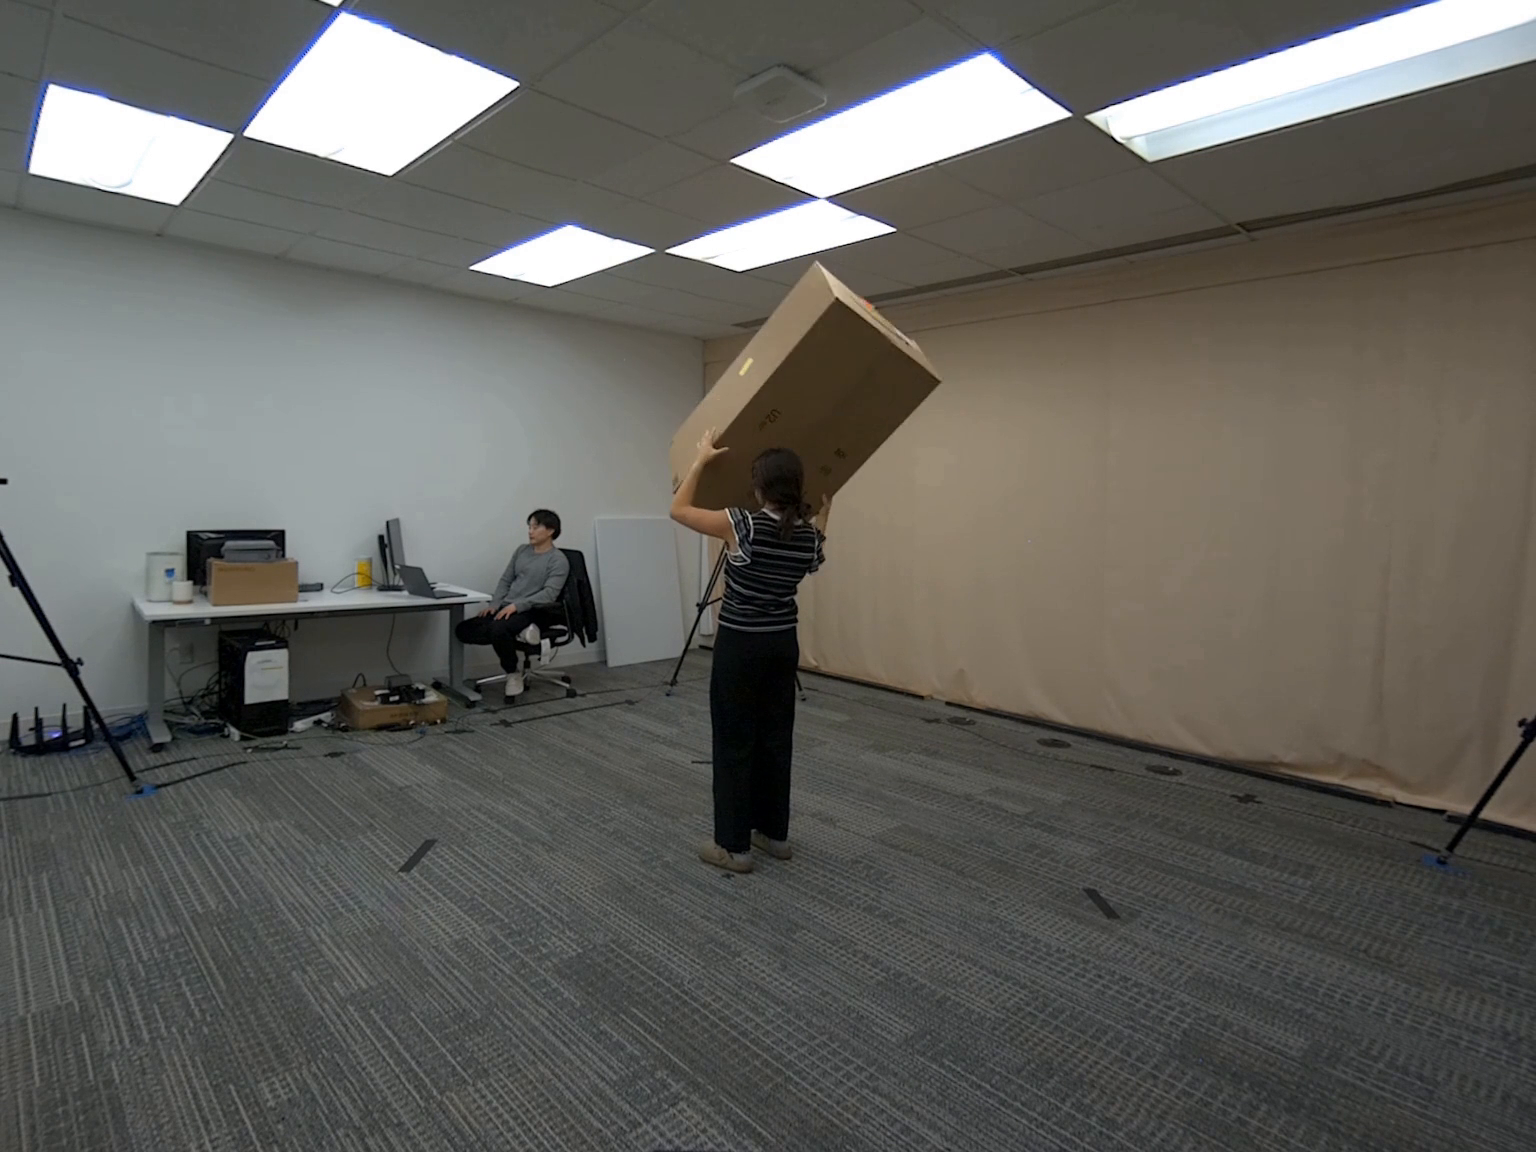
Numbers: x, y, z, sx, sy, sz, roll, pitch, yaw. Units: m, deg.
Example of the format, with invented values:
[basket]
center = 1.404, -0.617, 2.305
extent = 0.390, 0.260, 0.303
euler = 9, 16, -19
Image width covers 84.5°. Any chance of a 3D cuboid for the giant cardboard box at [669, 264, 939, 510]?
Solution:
[giant cardboard box]
center = 0.099, -0.671, 3.521
extent = 0.563, 1.026, 0.437
euler = 30, 28, -27
